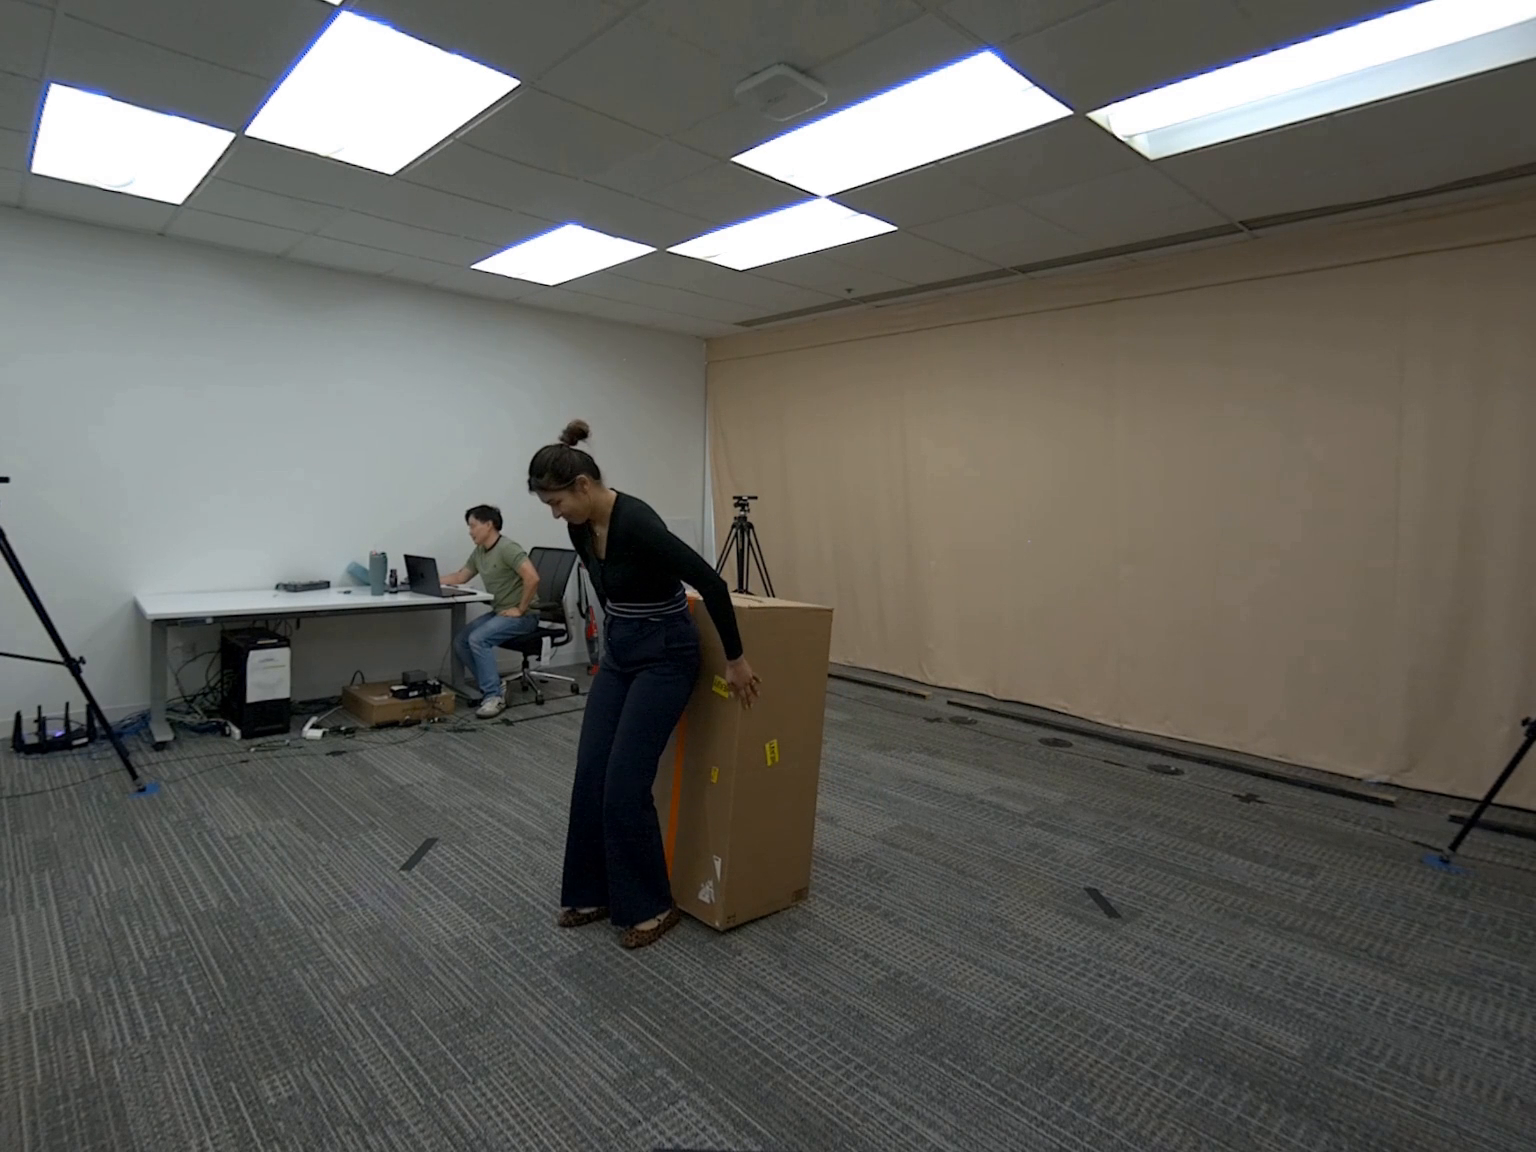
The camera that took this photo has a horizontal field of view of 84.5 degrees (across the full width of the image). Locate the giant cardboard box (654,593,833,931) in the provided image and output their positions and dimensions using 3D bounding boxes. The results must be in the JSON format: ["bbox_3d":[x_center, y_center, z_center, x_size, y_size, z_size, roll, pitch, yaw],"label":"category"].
[{"bbox_3d":[-0.165,0.592,2.989,0.415,1.025,0.592,5,1,-45],"label":"giant cardboard box"}]
